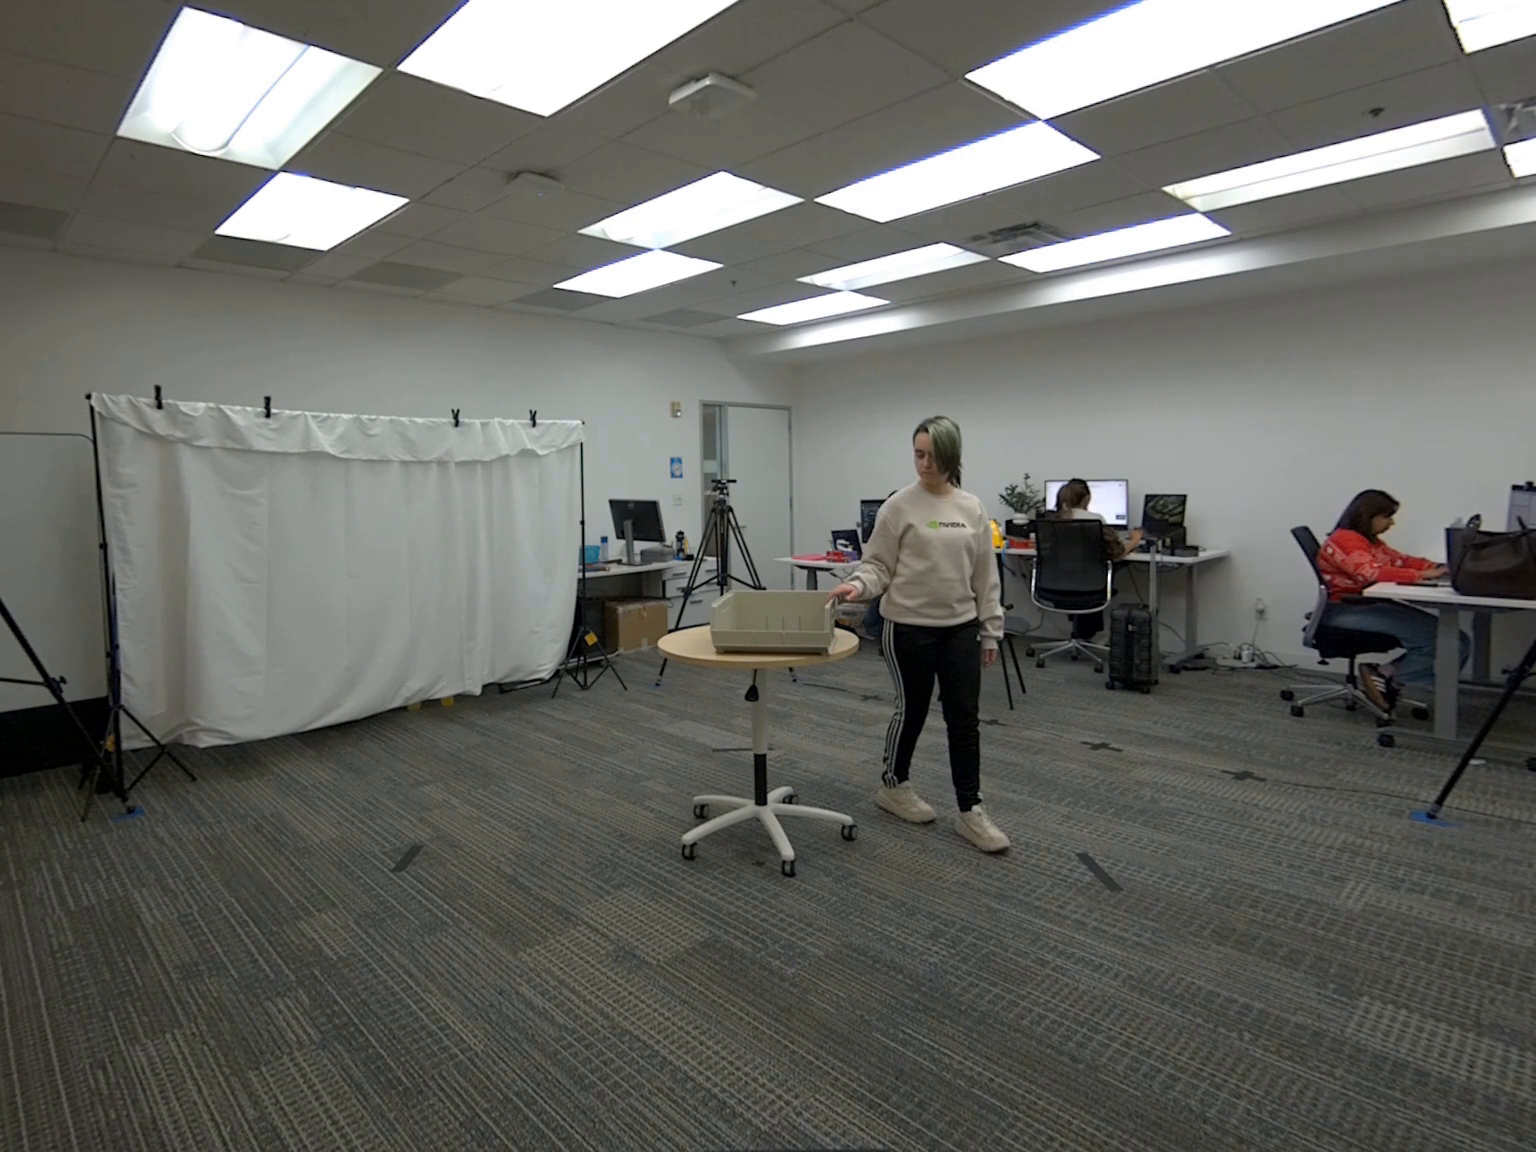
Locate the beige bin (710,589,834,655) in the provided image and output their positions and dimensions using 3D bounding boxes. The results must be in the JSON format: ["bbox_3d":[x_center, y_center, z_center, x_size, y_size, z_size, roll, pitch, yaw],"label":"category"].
[{"bbox_3d":[0.032,0.166,3.133,0.427,0.188,0.374,-1,4,10],"label":"beige bin"}]
